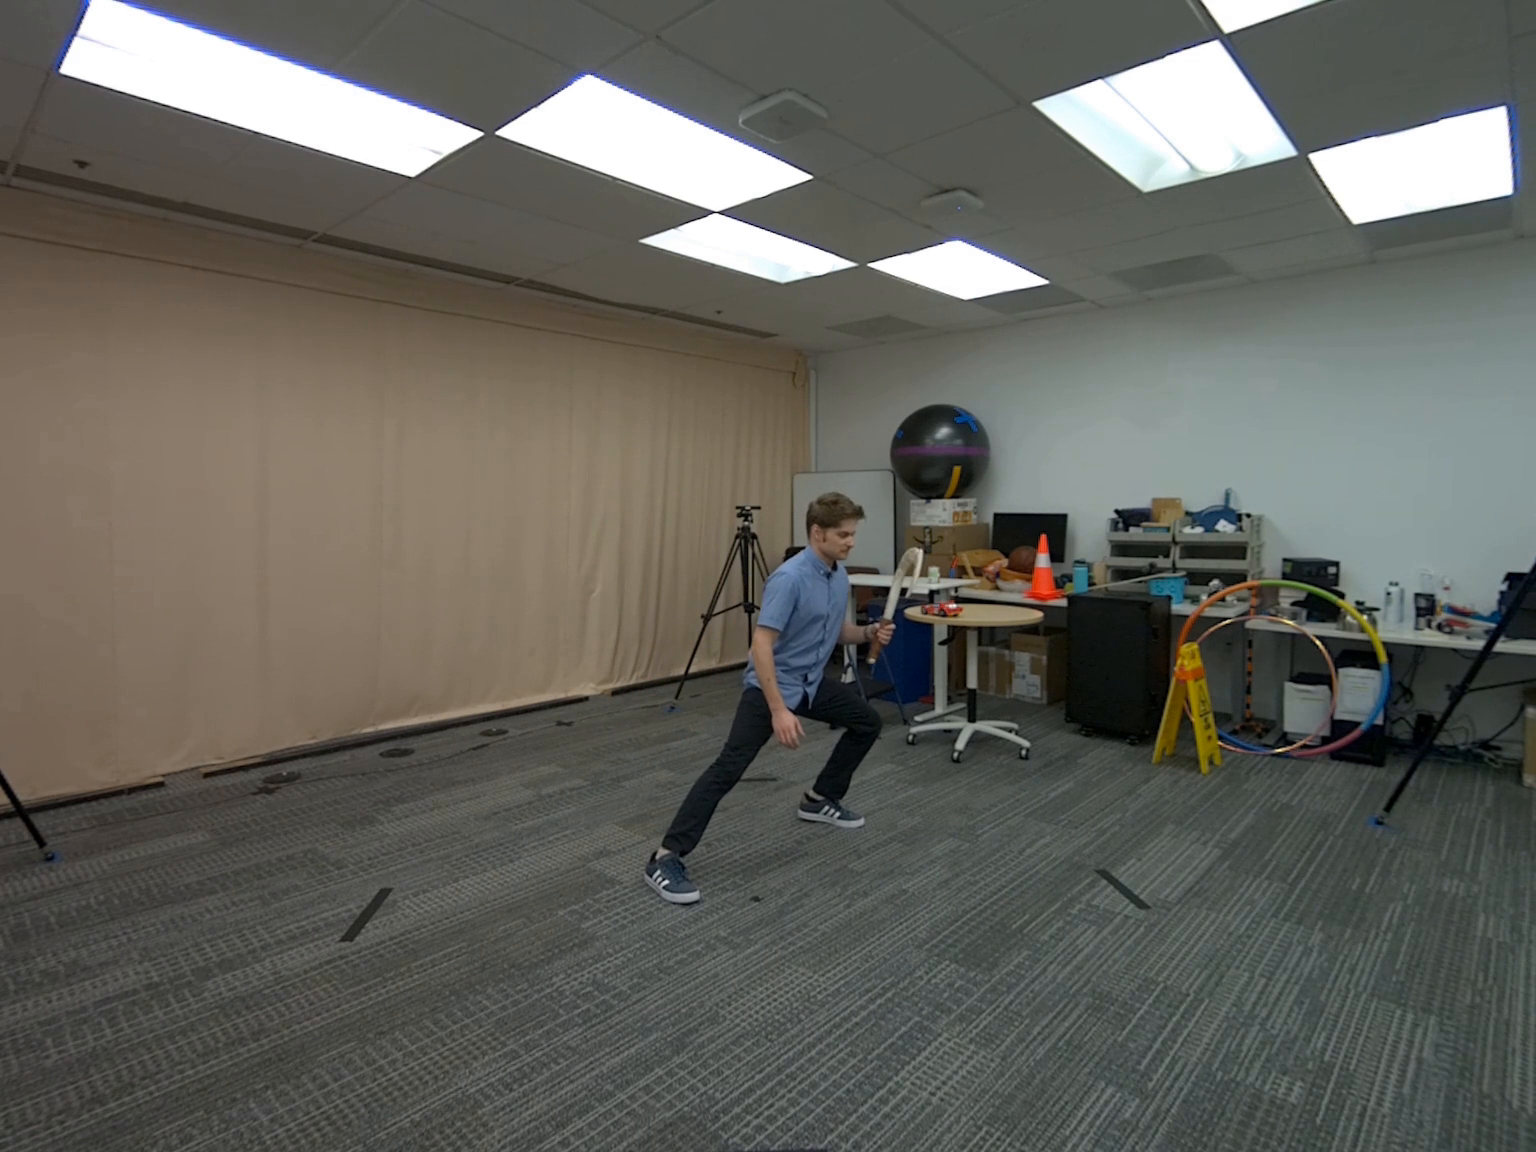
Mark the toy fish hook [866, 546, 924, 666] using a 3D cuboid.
[{"bbox_3d":[0.516,0.127,3.342,0.048,0.506,0.227,18,4,-9],"label":"toy fish hook"}]
